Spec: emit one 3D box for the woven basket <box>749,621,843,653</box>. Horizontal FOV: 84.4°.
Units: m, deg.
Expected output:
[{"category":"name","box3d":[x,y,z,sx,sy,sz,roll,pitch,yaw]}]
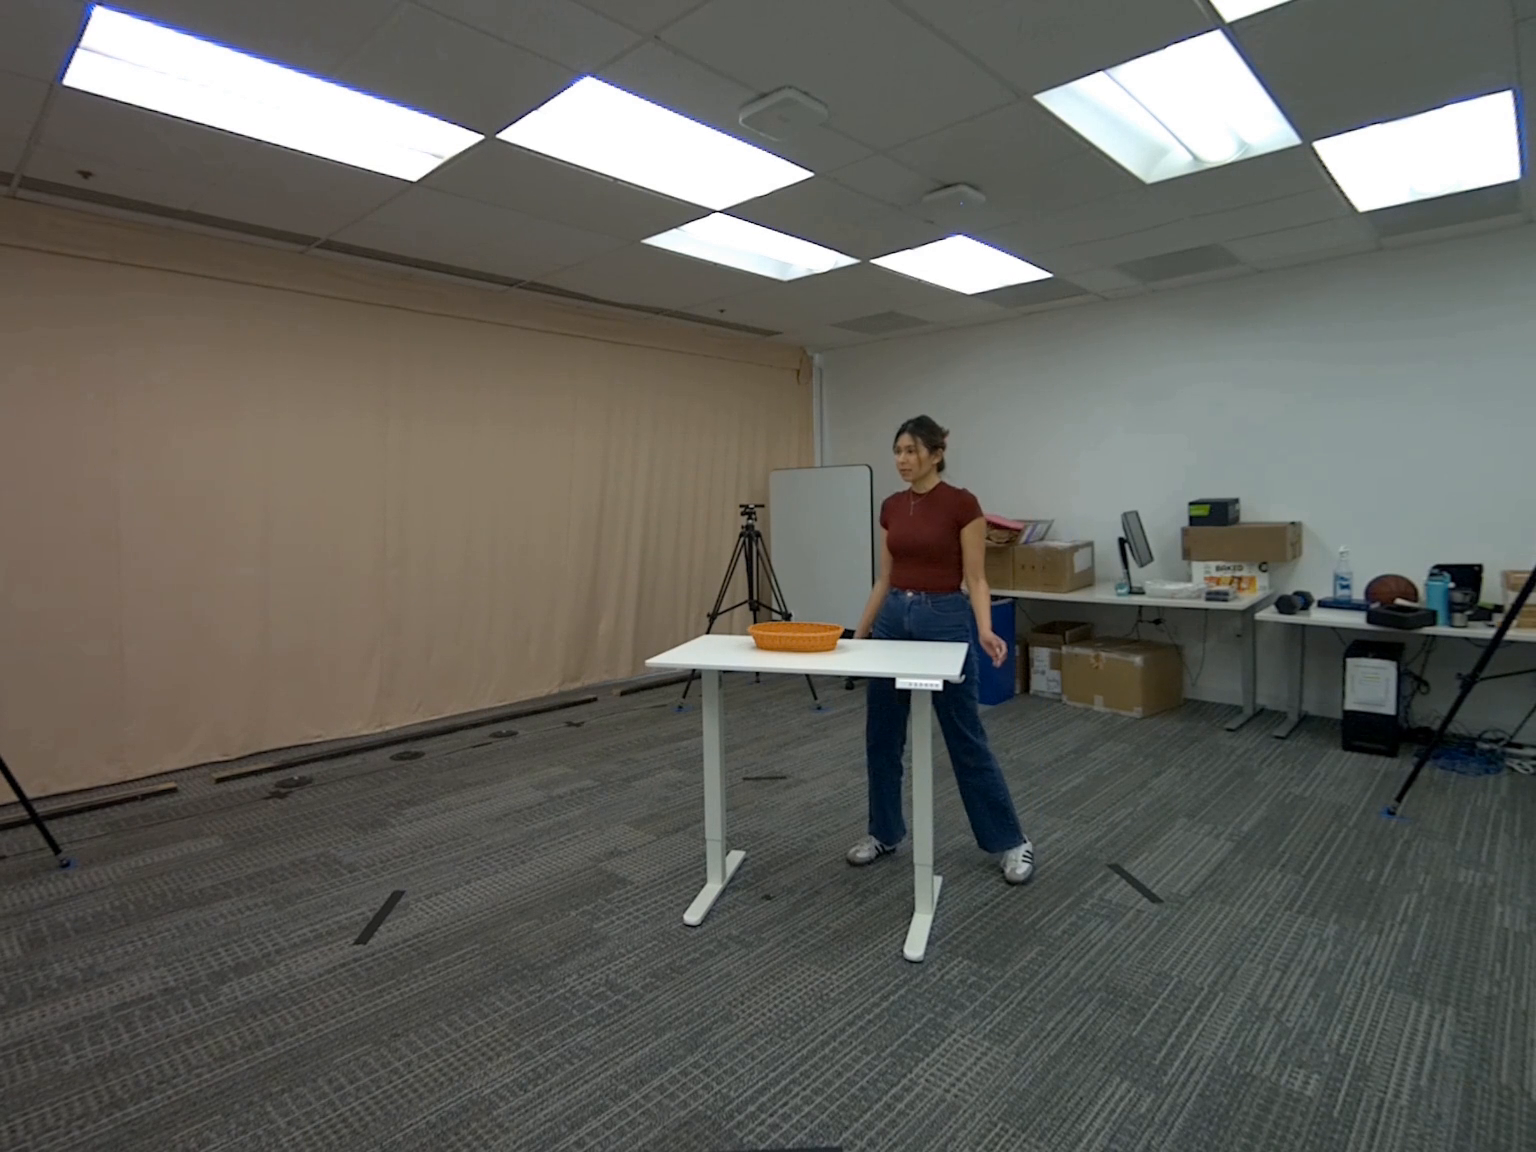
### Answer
[{"category":"woven basket","box3d":[0.102,0.225,2.992,0.358,0.073,0.248,1,6,20]}]
